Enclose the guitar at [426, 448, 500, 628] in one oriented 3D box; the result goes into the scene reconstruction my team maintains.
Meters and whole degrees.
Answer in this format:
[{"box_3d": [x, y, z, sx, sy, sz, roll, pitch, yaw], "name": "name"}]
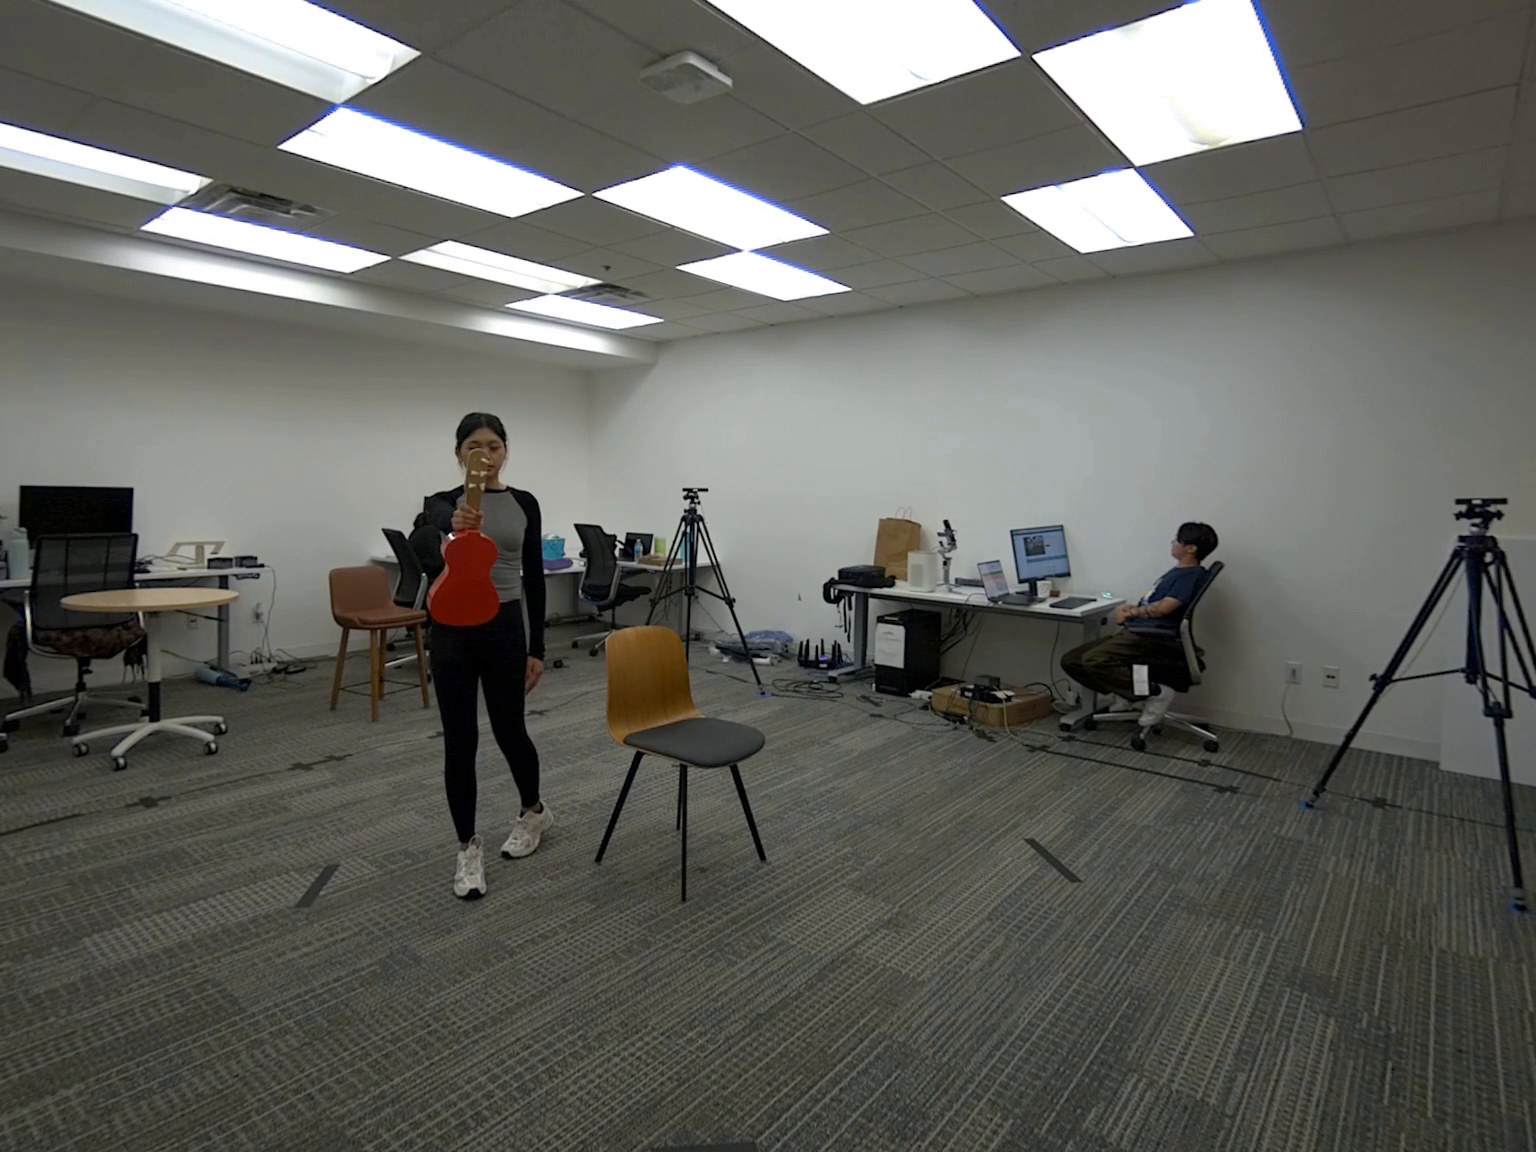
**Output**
[{"box_3d": [-0.882, -0.102, 2.396, 0.189, 0.491, 0.073, -6, 16, -25], "name": "guitar"}]
